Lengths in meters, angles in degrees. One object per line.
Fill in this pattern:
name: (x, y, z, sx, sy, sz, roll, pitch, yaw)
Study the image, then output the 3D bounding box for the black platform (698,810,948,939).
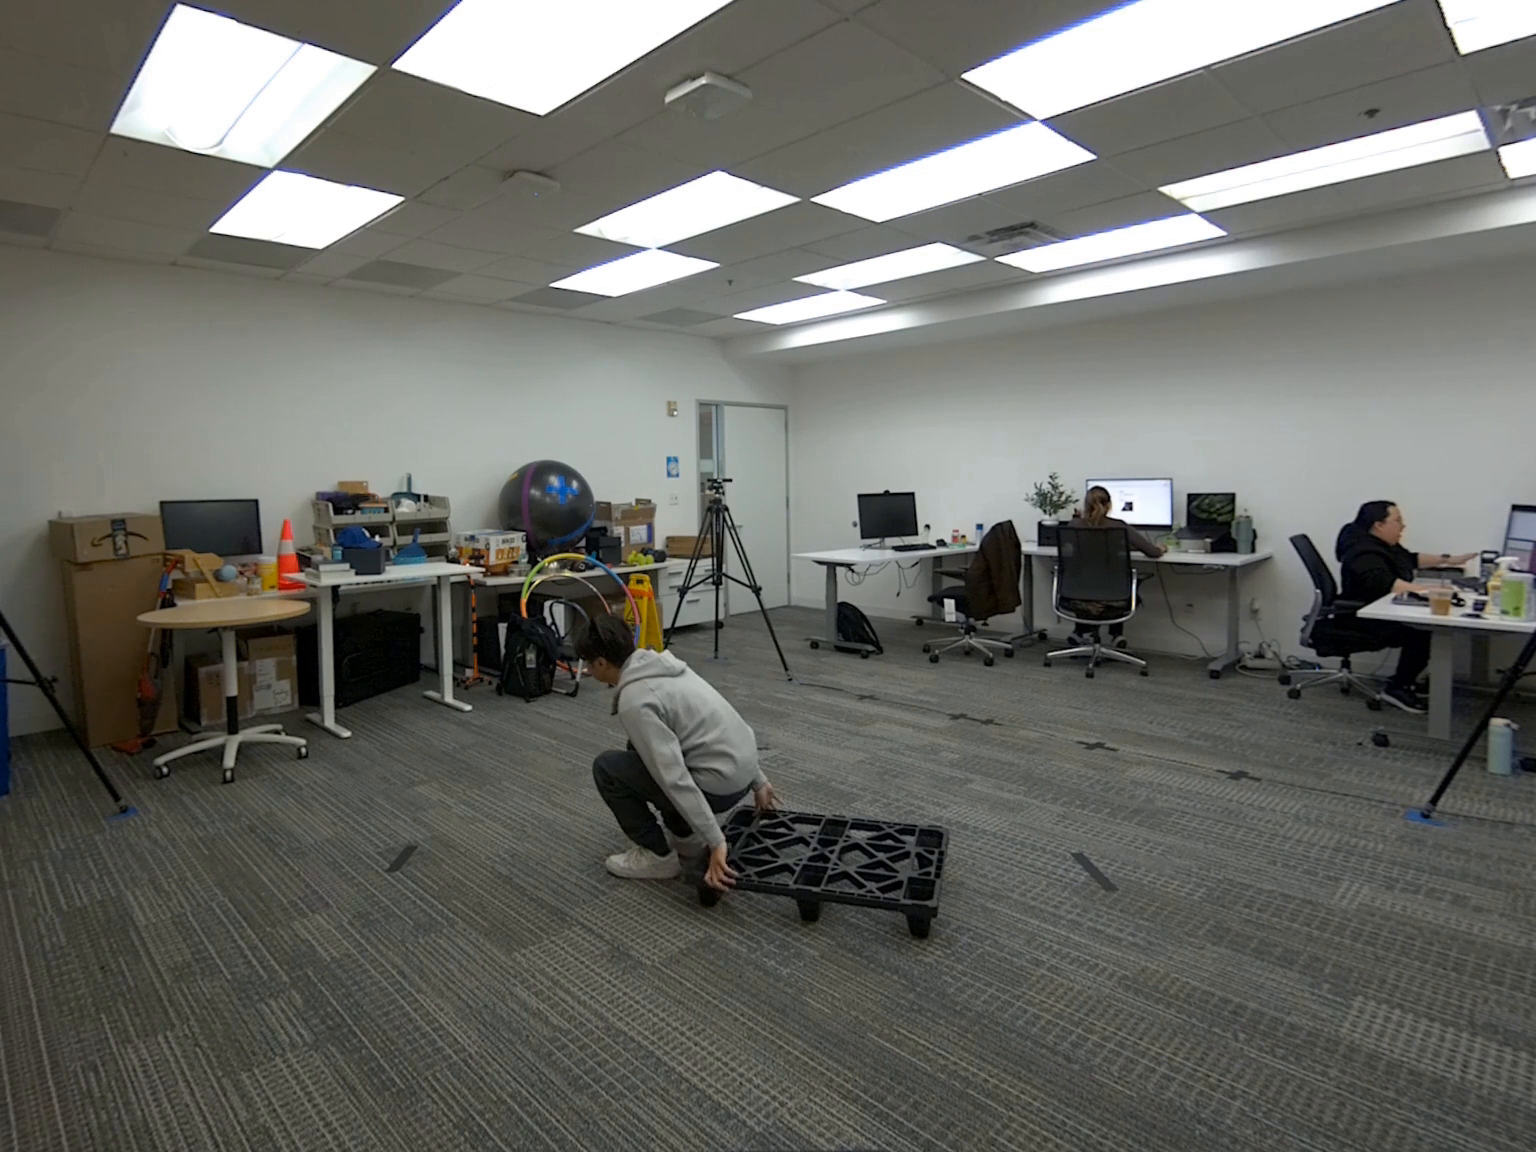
black platform: (0.188, 0.991, 2.915, 0.819, 0.143, 0.597, 1, 6, 17)
